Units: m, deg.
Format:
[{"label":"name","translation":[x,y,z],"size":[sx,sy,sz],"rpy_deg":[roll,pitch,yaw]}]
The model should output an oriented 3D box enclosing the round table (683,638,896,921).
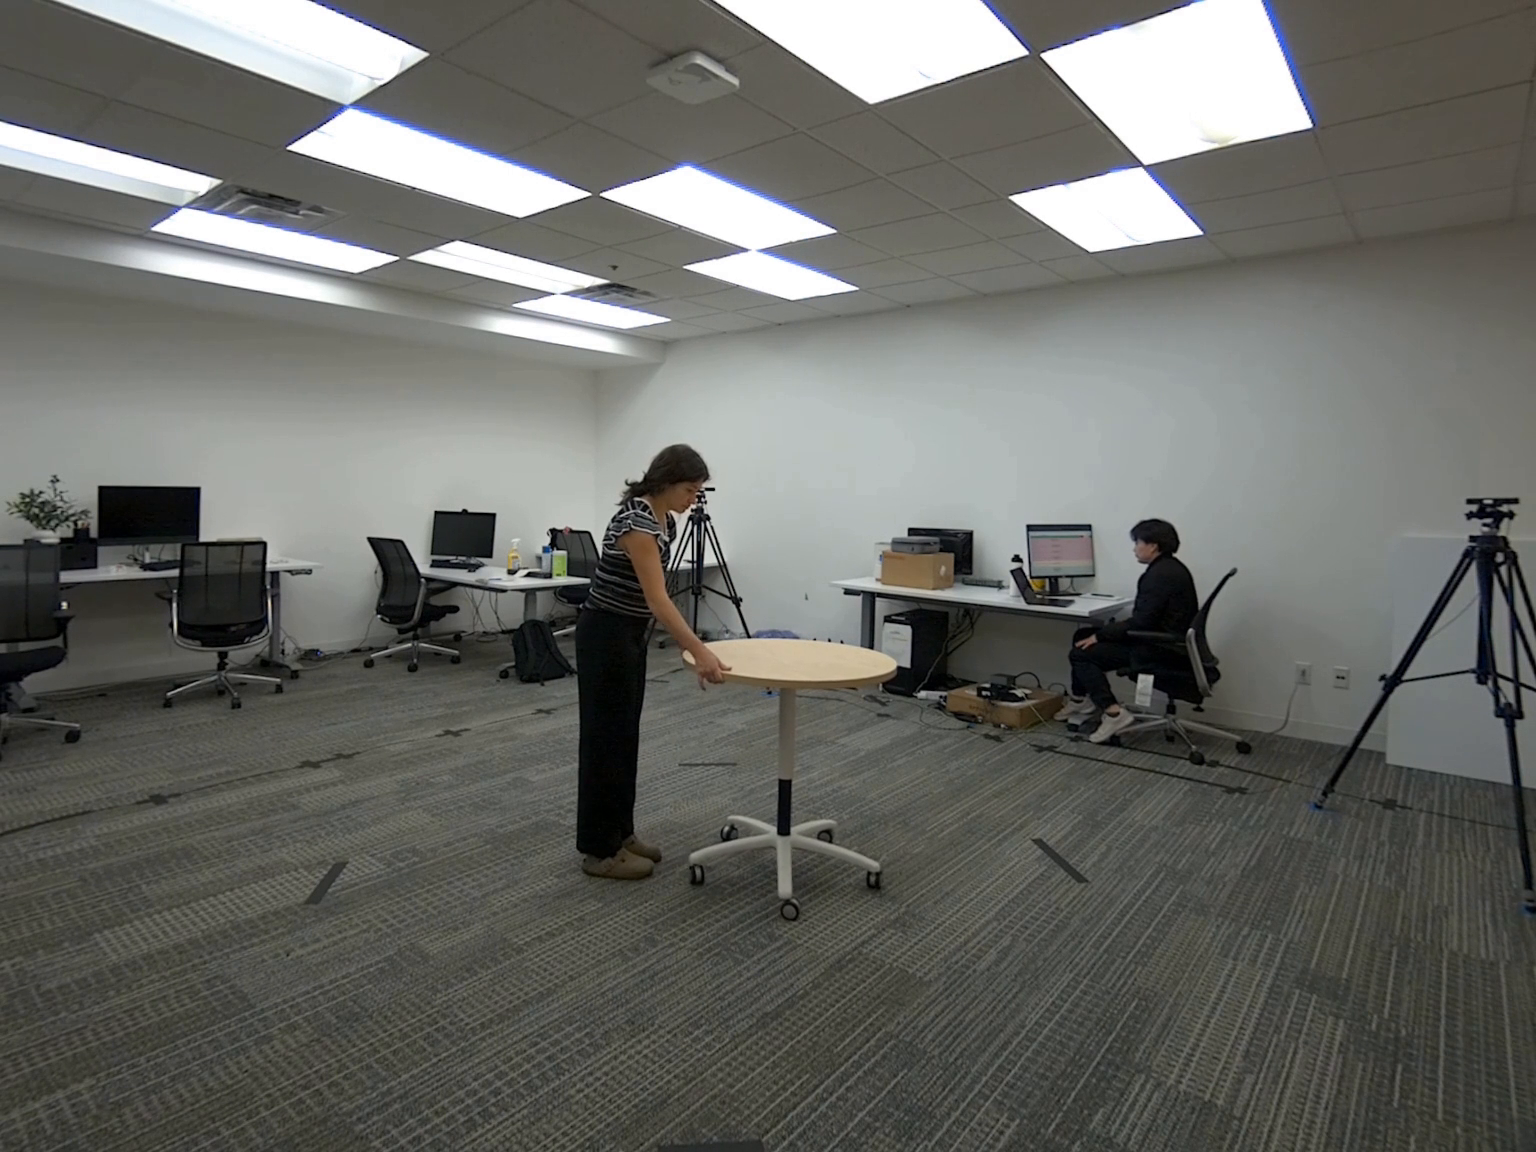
[{"label":"round table","translation":[0.055,0.683,3.065],"size":[0.784,0.784,0.788],"rpy_deg":[1,3,-2]}]
